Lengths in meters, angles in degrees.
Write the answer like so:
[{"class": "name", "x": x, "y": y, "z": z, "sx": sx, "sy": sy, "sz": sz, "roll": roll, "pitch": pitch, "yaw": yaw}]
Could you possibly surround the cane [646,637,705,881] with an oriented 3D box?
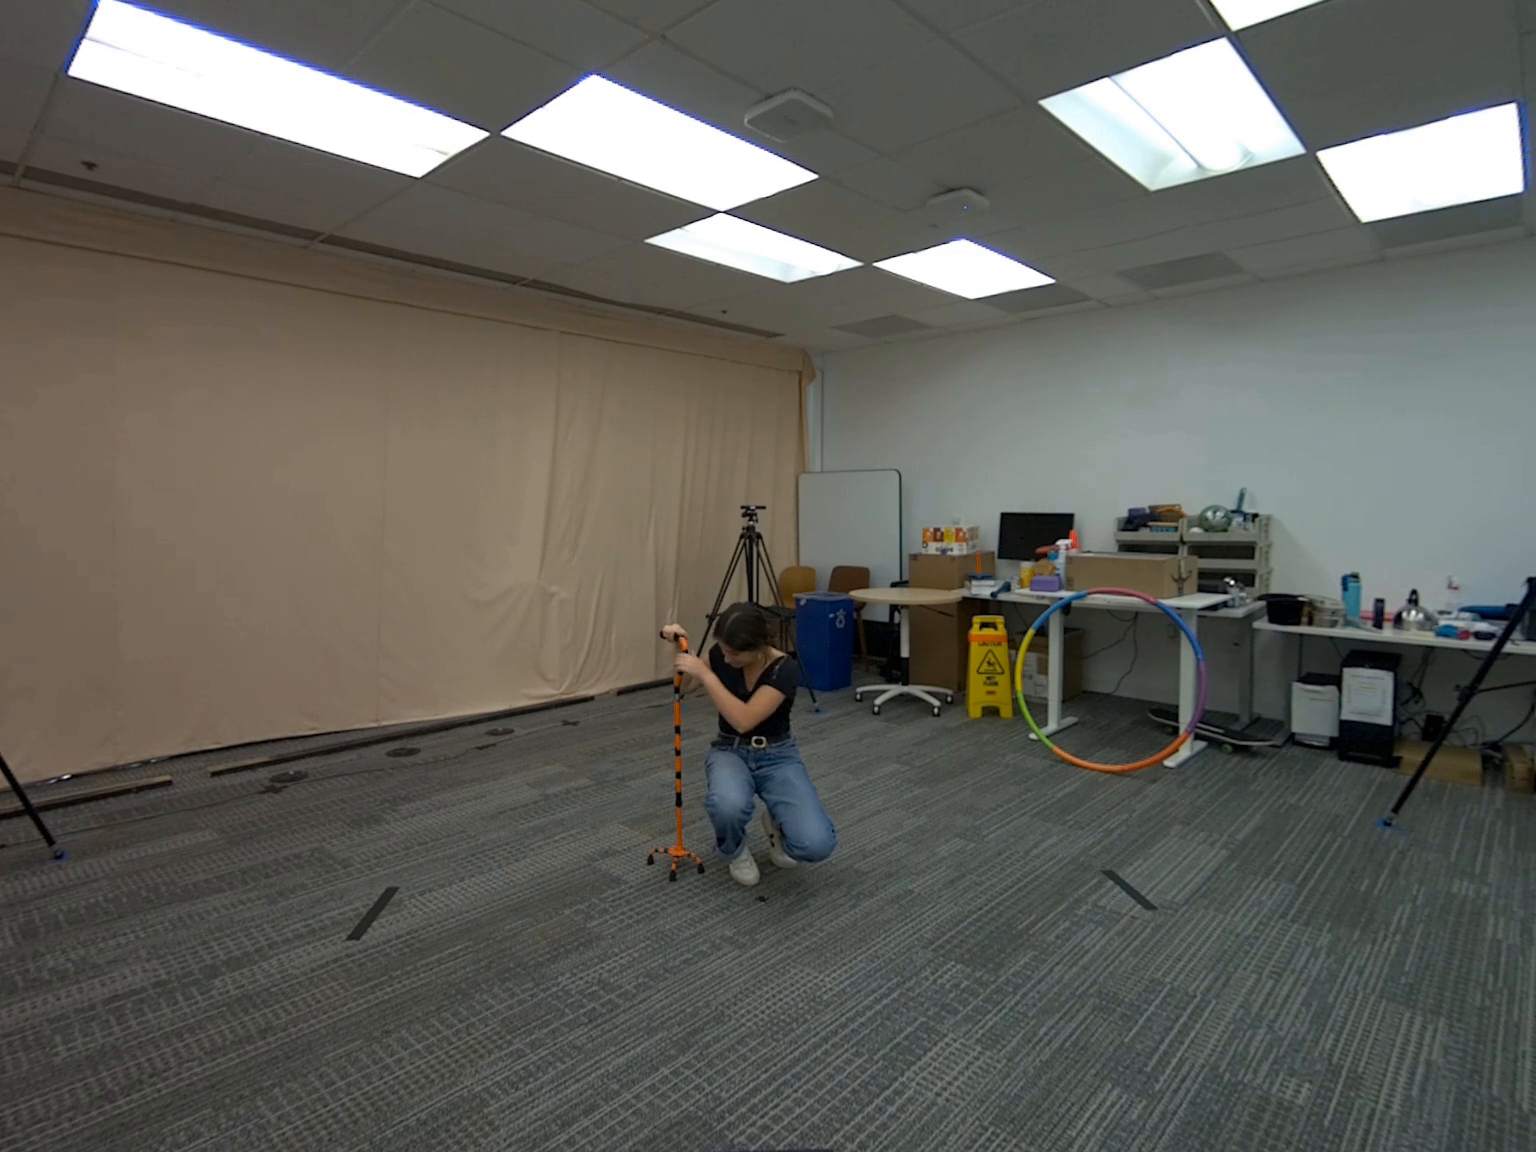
[{"class": "cane", "x": -0.353, "y": 0.677, "z": 3.227, "sx": 0.147, "sy": 0.906, "sz": 0.213, "roll": -2, "pitch": 3, "yaw": -36}]
